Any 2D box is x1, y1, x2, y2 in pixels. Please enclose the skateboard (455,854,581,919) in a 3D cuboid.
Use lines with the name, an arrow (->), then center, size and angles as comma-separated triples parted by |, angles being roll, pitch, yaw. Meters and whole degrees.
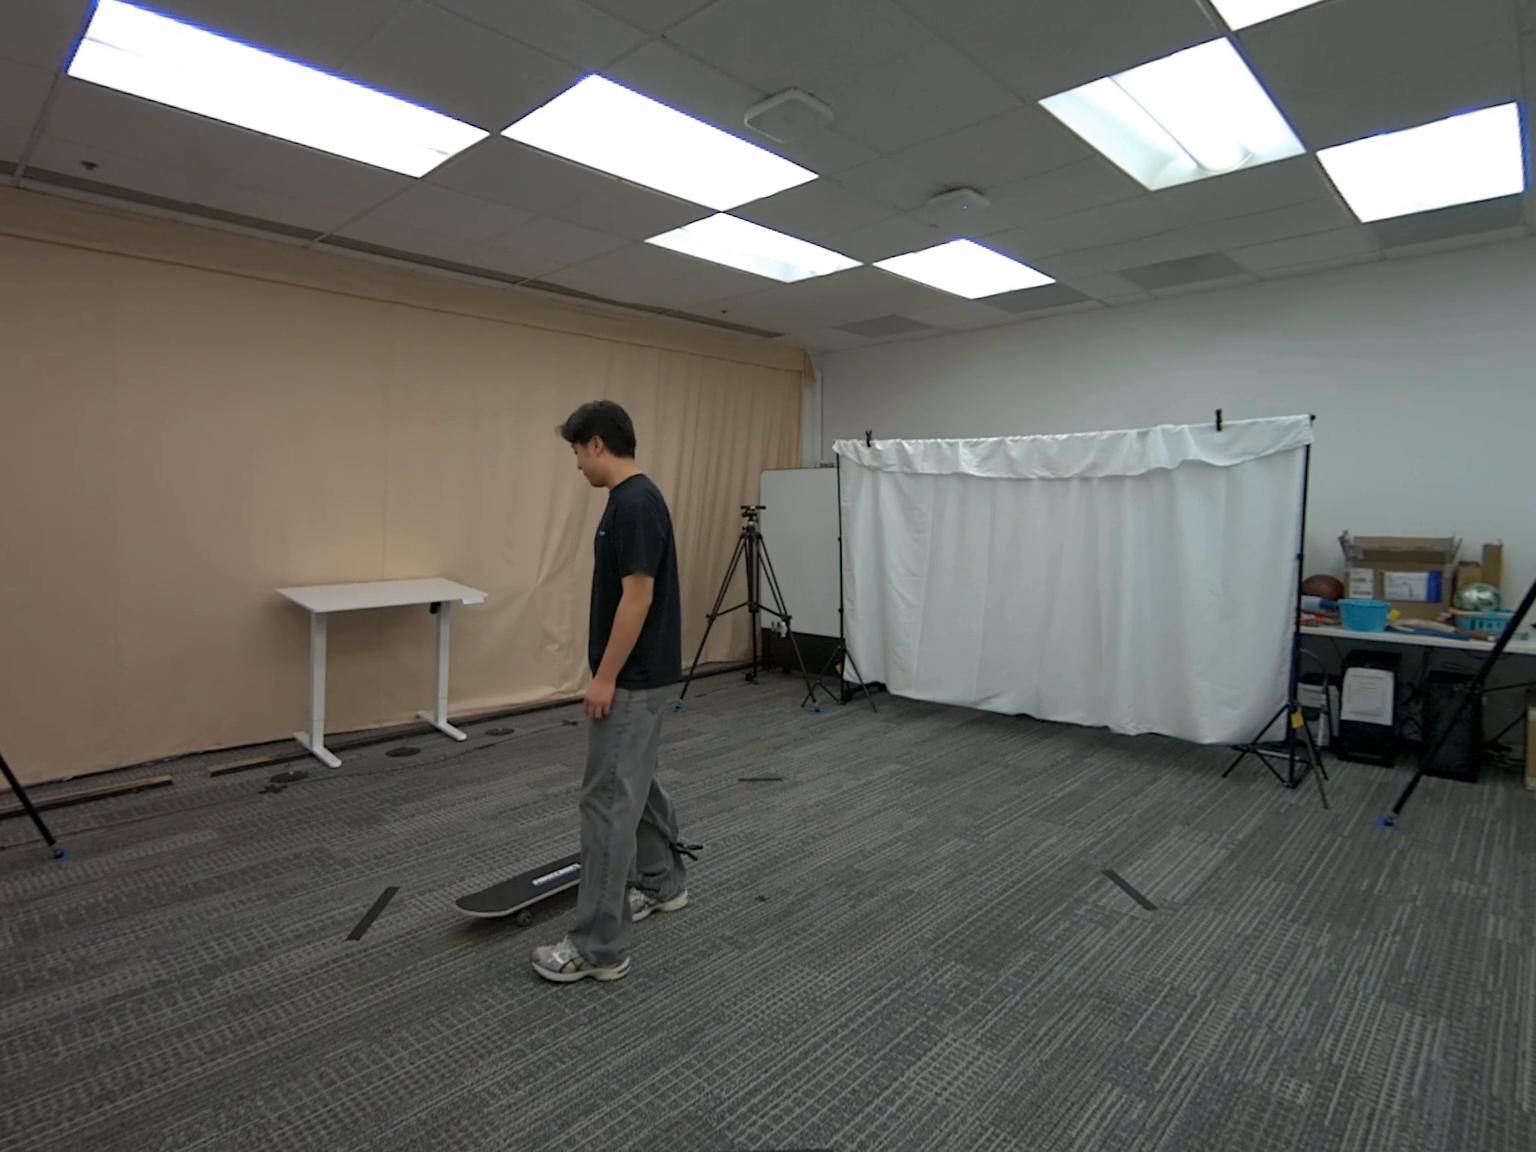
skateboard -> -0.744, 1.090, 2.994 | 0.200, 0.110, 0.762 | 3, 5, 40
